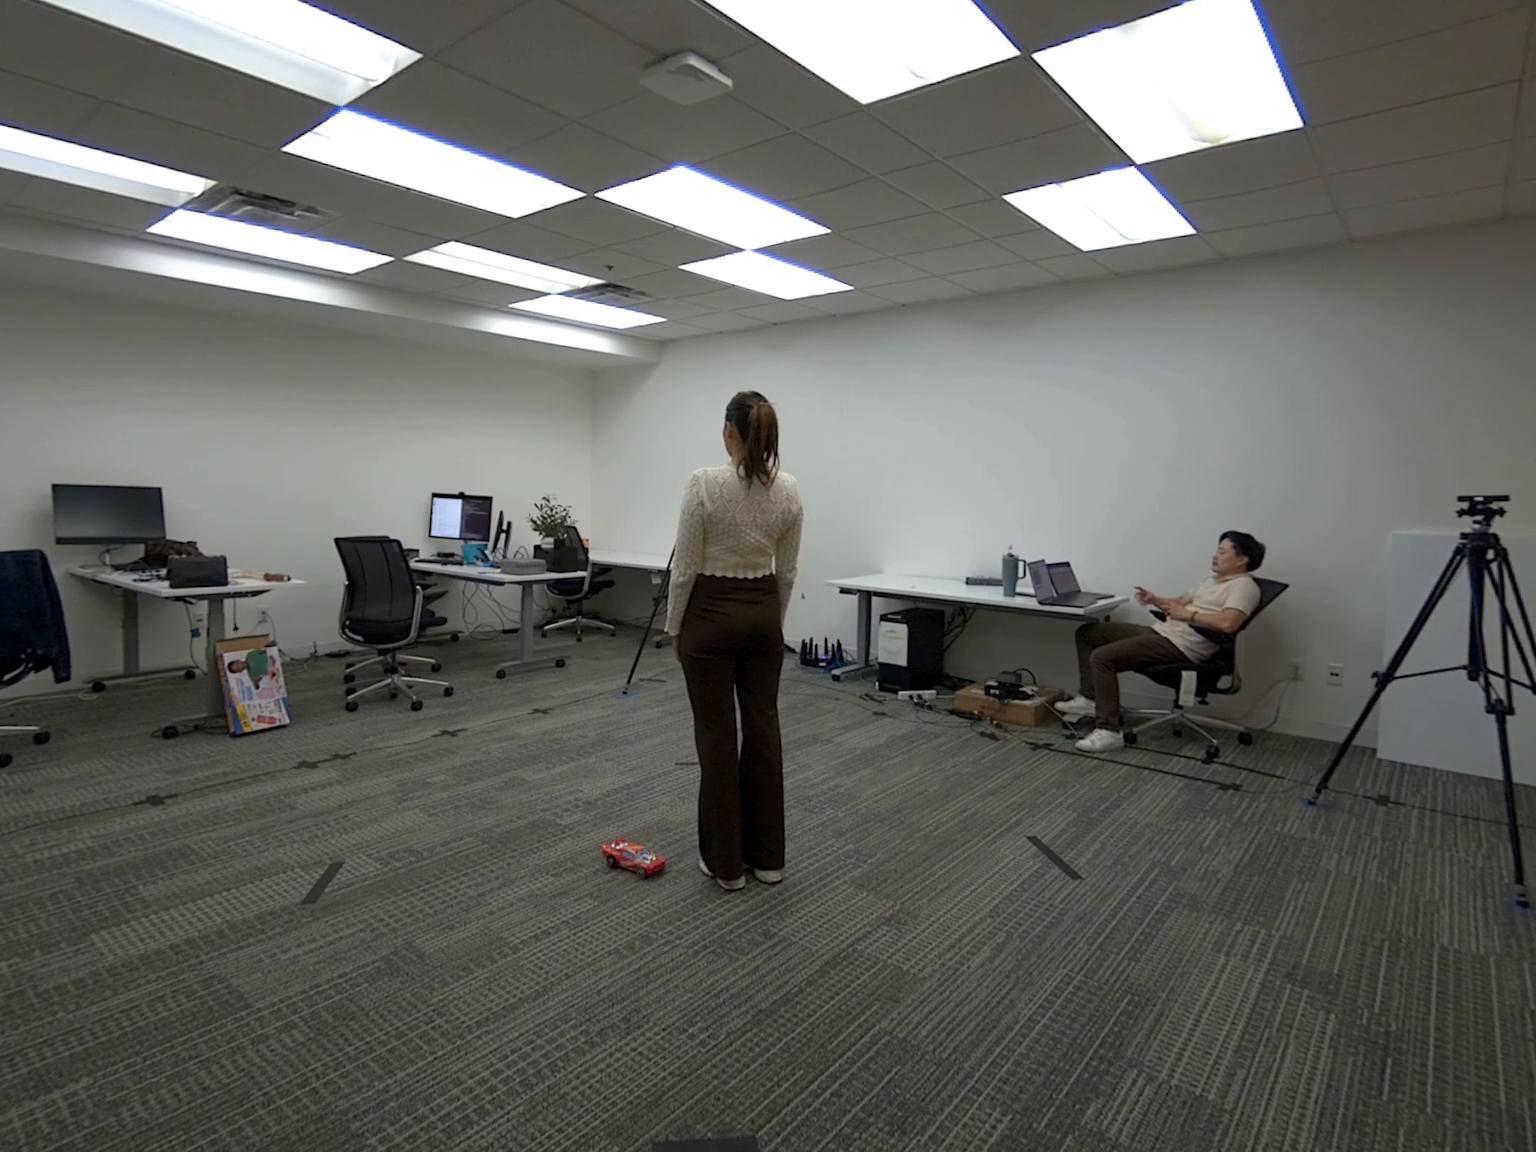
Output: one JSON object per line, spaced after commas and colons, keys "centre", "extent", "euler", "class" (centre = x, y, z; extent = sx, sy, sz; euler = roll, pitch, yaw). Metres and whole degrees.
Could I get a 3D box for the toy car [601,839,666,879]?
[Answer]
{"centre": [-0.512, 1.037, 3.113], "extent": [0.264, 0.082, 0.126], "euler": [18, 13, 35], "class": "toy car"}
